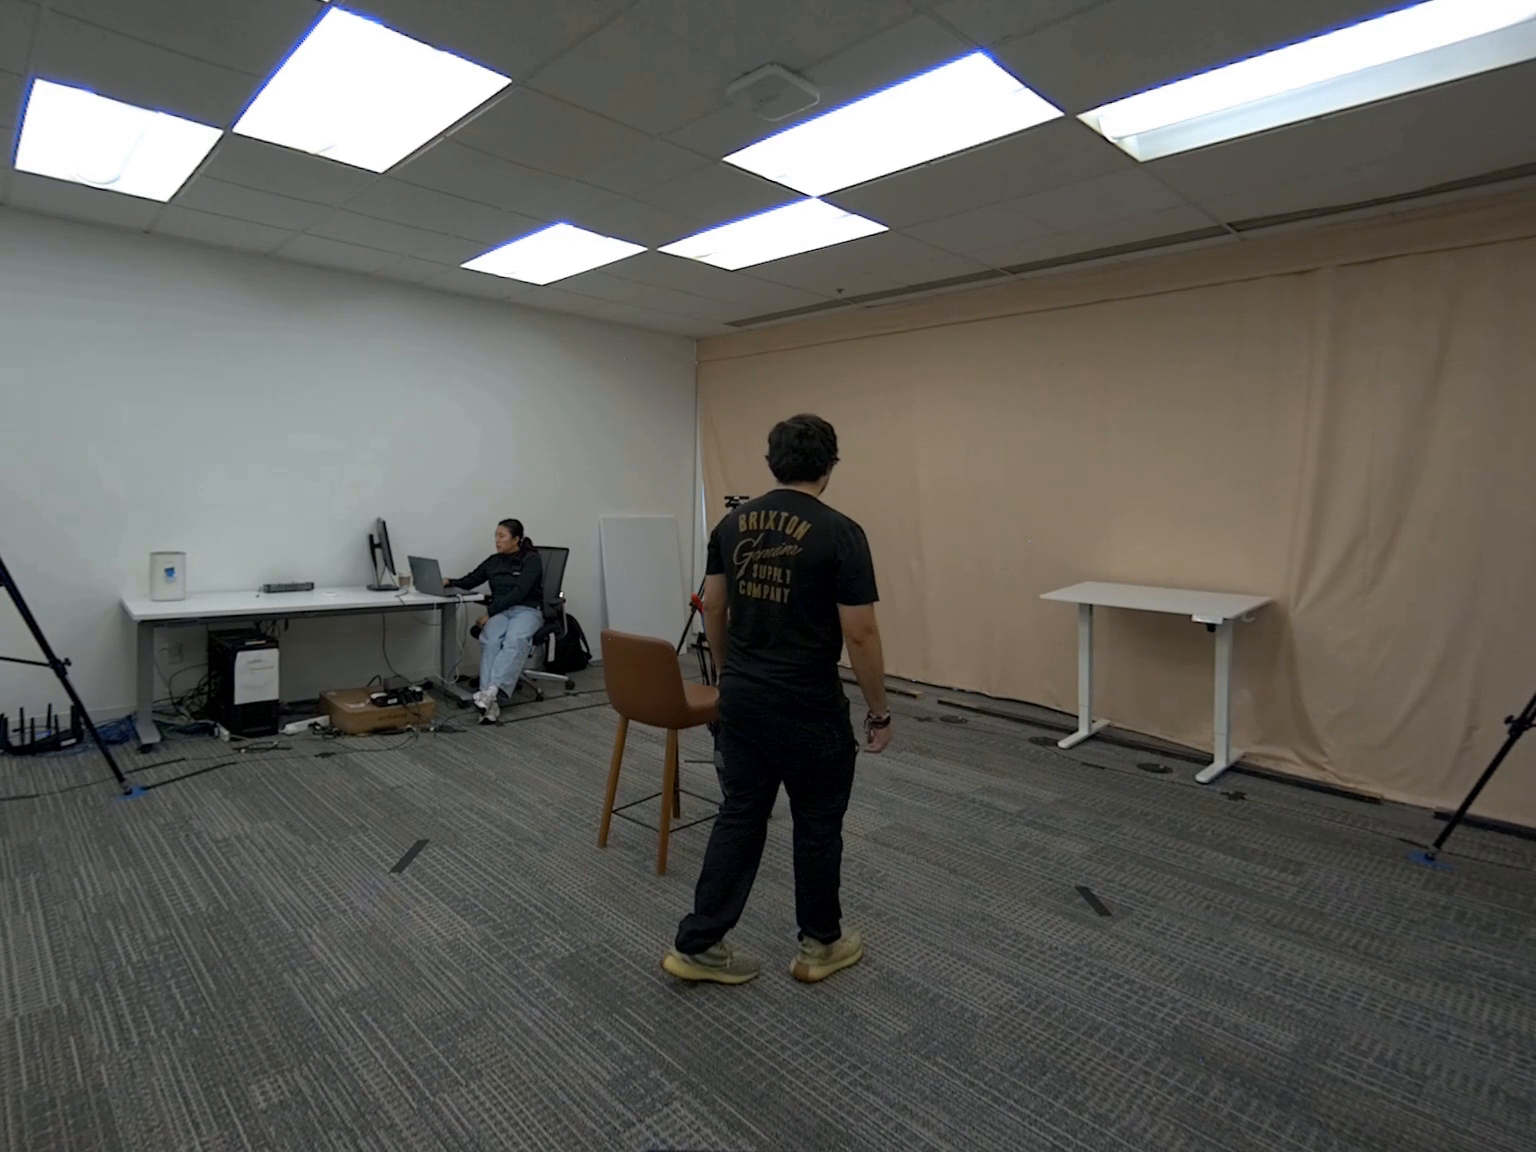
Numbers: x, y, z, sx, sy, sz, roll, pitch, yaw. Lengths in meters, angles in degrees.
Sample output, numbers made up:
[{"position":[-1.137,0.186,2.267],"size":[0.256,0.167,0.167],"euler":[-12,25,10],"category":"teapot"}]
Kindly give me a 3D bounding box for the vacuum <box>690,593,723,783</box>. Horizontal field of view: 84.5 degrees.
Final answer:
[{"position":[-0.211,0.572,3.557],"size":[0.258,1.033,0.143],"euler":[2,22,31],"category":"vacuum"}]
